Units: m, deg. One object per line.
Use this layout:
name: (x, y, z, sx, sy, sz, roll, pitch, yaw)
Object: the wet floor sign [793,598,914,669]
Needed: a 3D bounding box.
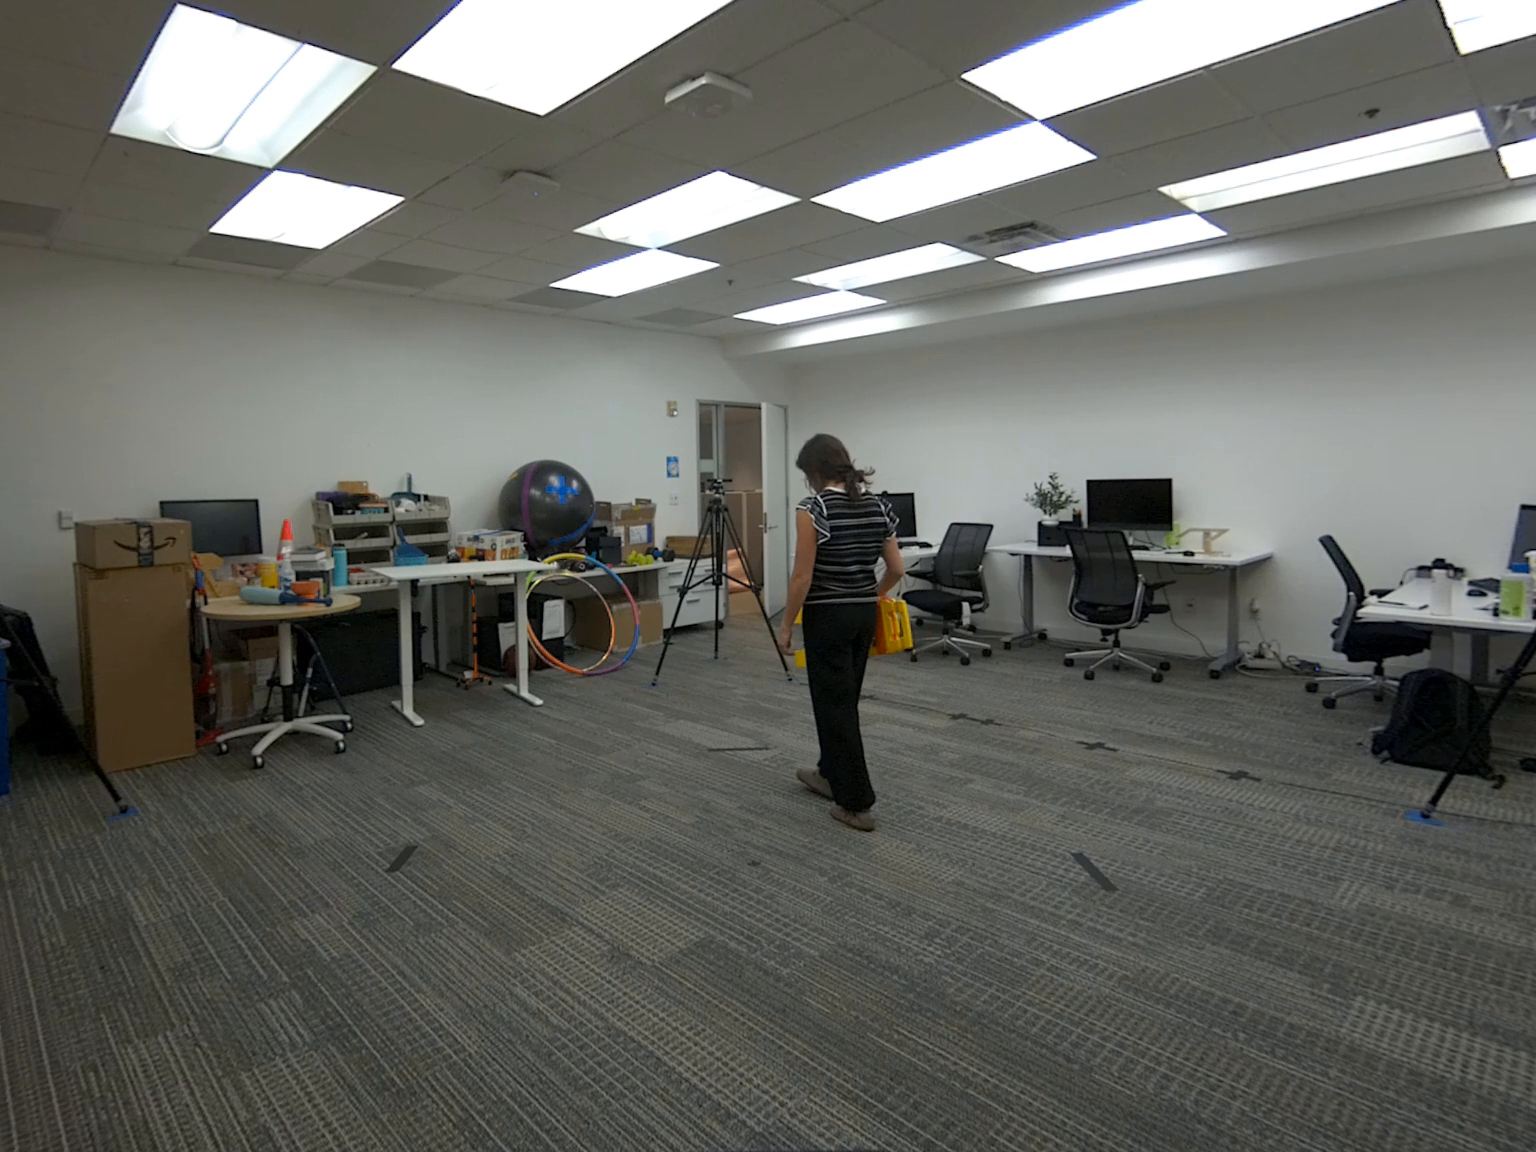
wet floor sign: (0.400, 0.233, 3.770, 0.282, 0.284, 0.659, -4, -5, -35)
